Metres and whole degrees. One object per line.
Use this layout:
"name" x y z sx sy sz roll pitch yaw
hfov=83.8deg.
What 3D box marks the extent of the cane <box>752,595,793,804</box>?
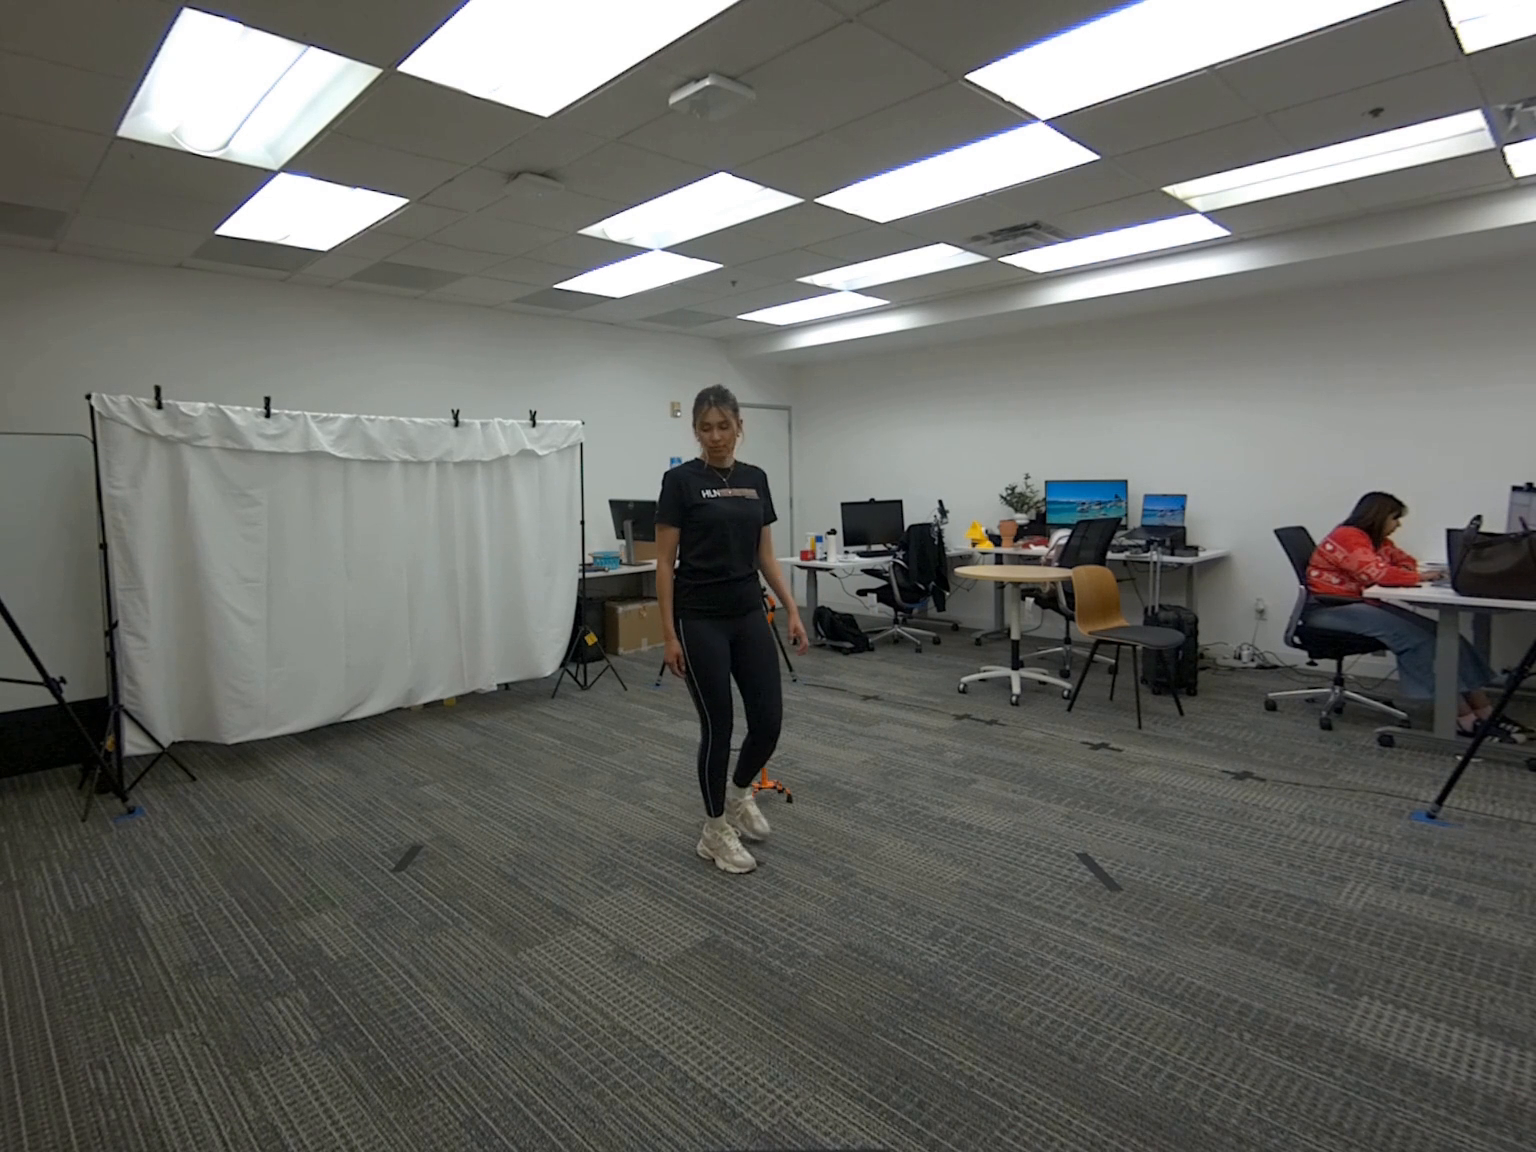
"cane" -0.015 0.526 3.719 0.203 0.906 0.154 -1 2 -16
